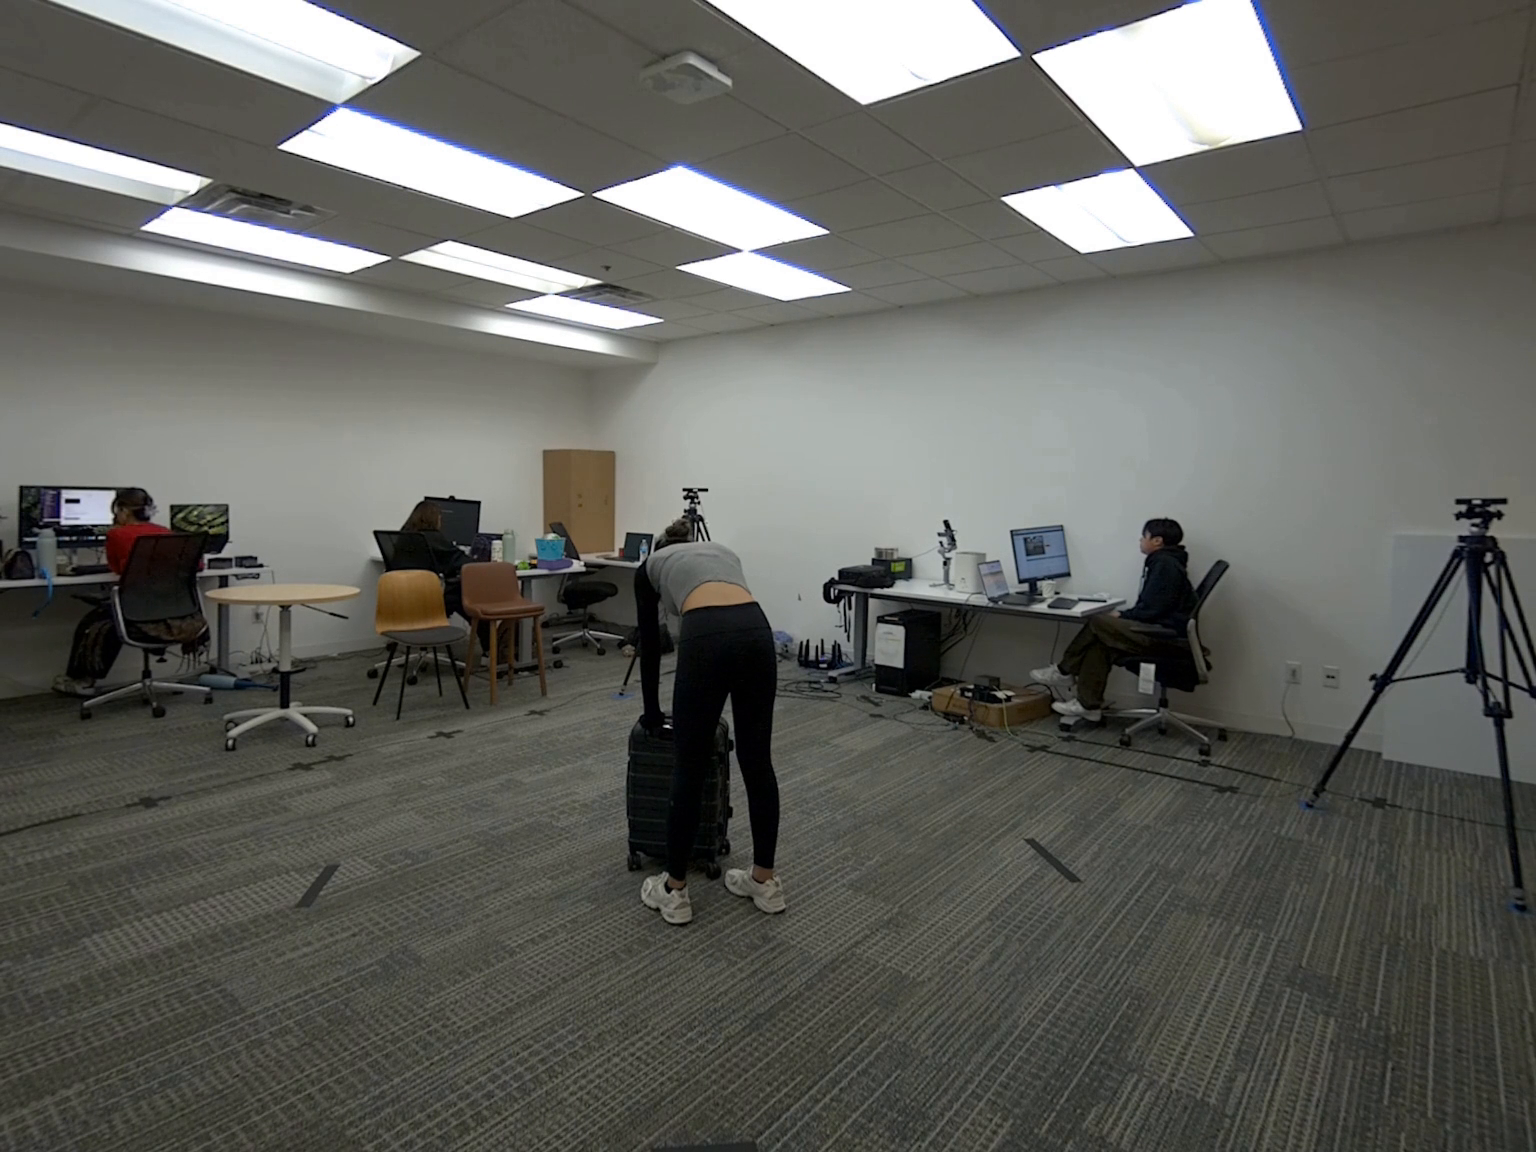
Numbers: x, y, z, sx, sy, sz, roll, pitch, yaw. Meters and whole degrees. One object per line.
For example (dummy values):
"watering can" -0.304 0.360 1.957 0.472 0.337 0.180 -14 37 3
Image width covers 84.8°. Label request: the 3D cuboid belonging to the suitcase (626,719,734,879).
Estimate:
"suitcase" -0.343 0.784 3.184 0.381 0.549 0.245 1 1 12
